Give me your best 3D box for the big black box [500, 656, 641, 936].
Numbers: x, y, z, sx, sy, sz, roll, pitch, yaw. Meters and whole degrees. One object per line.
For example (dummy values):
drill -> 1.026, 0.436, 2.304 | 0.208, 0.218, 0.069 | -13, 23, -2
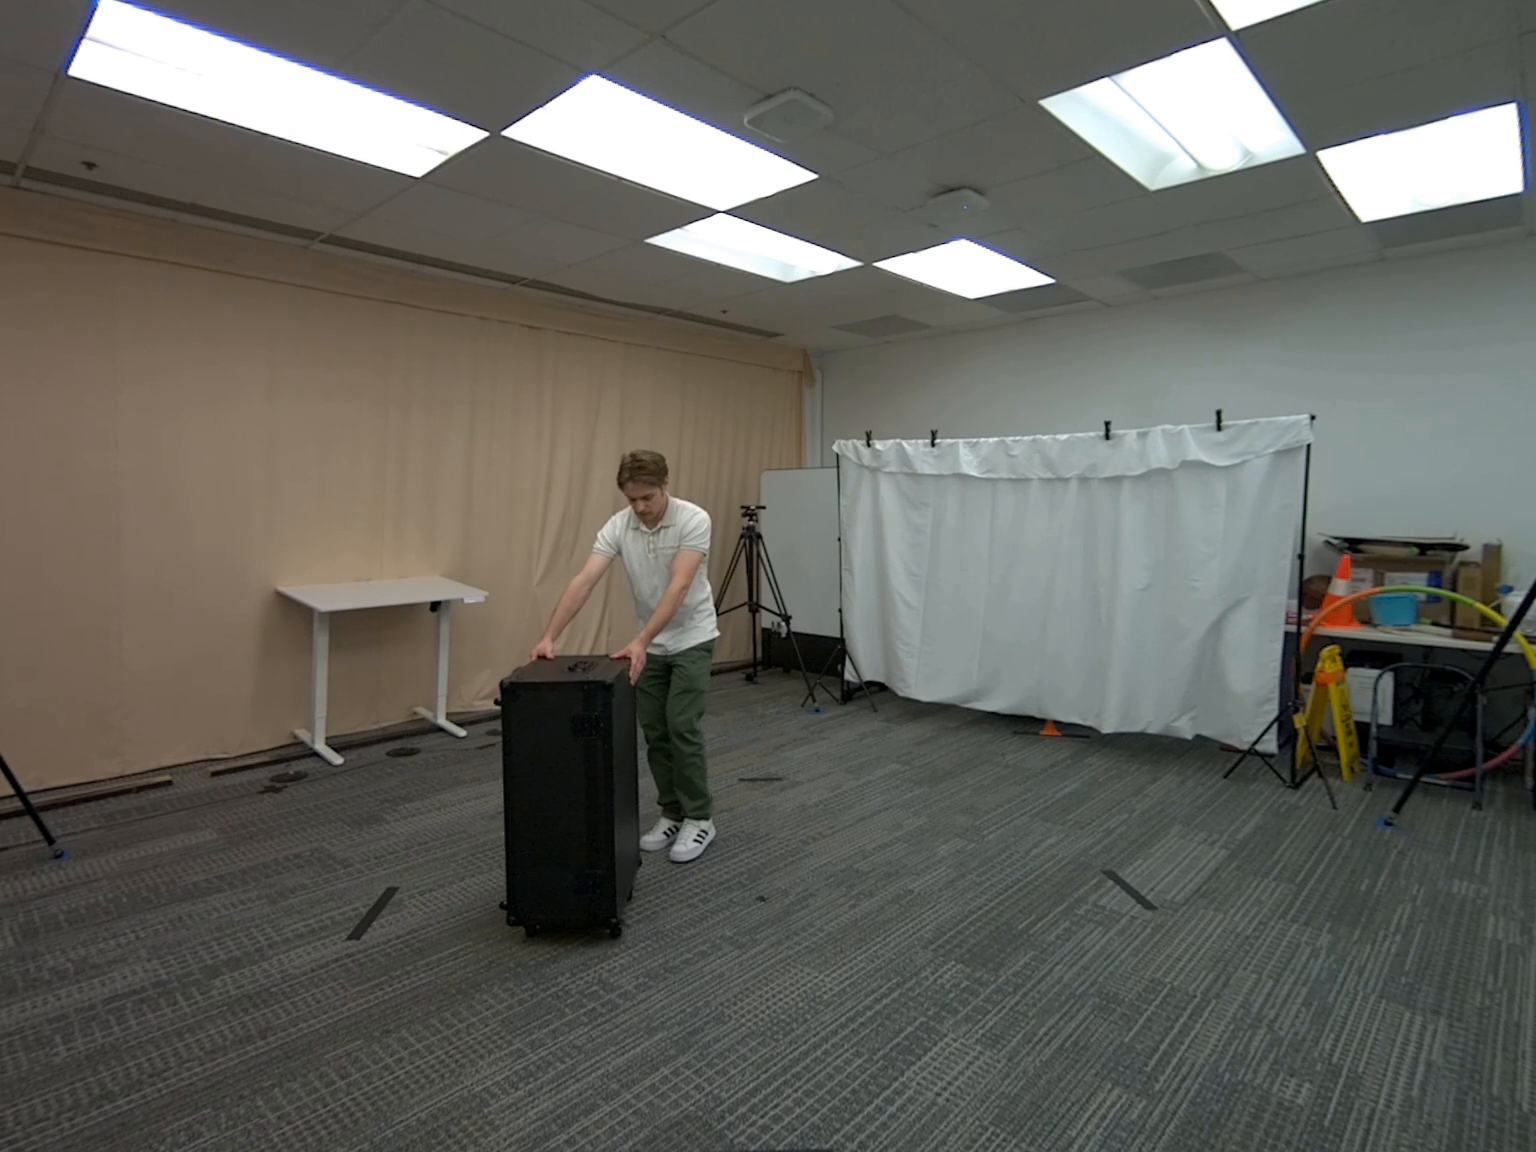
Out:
big black box -> -0.649, 0.736, 2.869 | 0.385, 0.867, 0.524 | -1, 2, 0
